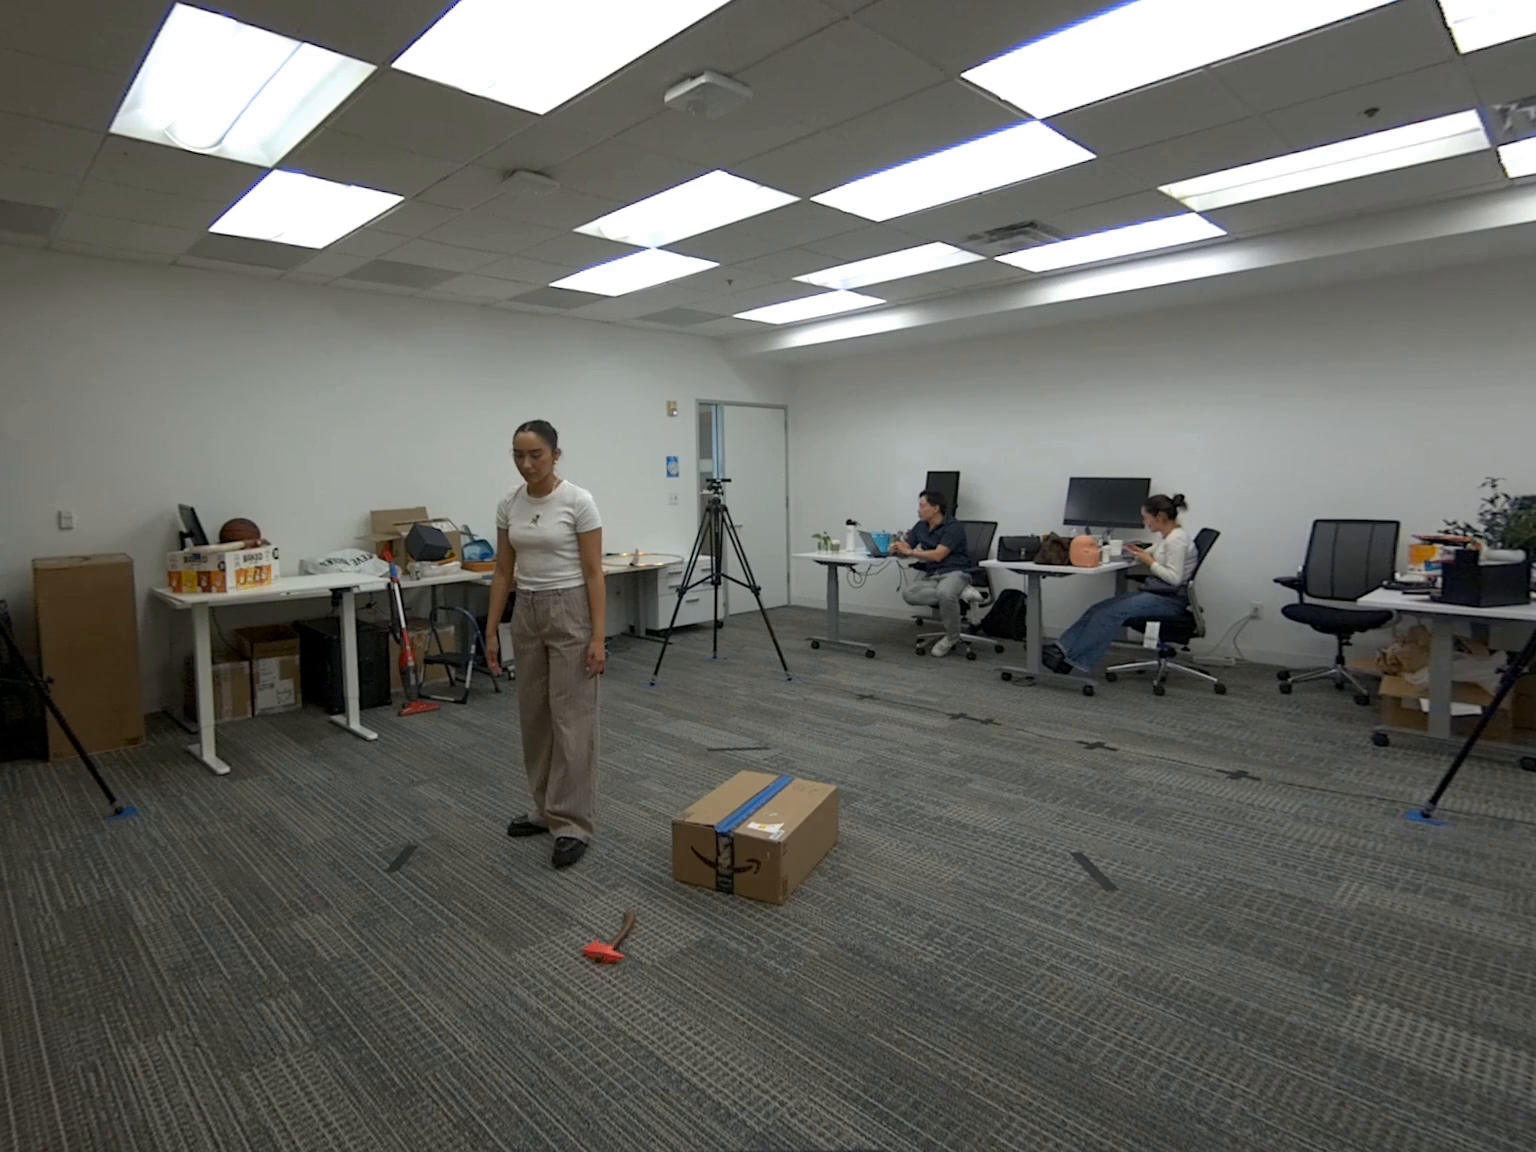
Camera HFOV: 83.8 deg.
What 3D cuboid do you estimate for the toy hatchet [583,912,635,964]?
[{"bbox_3d":[-0.483,1.101,2.611,0.131,0.029,0.270,-4,5,0],"label":"toy hatchet"}]
